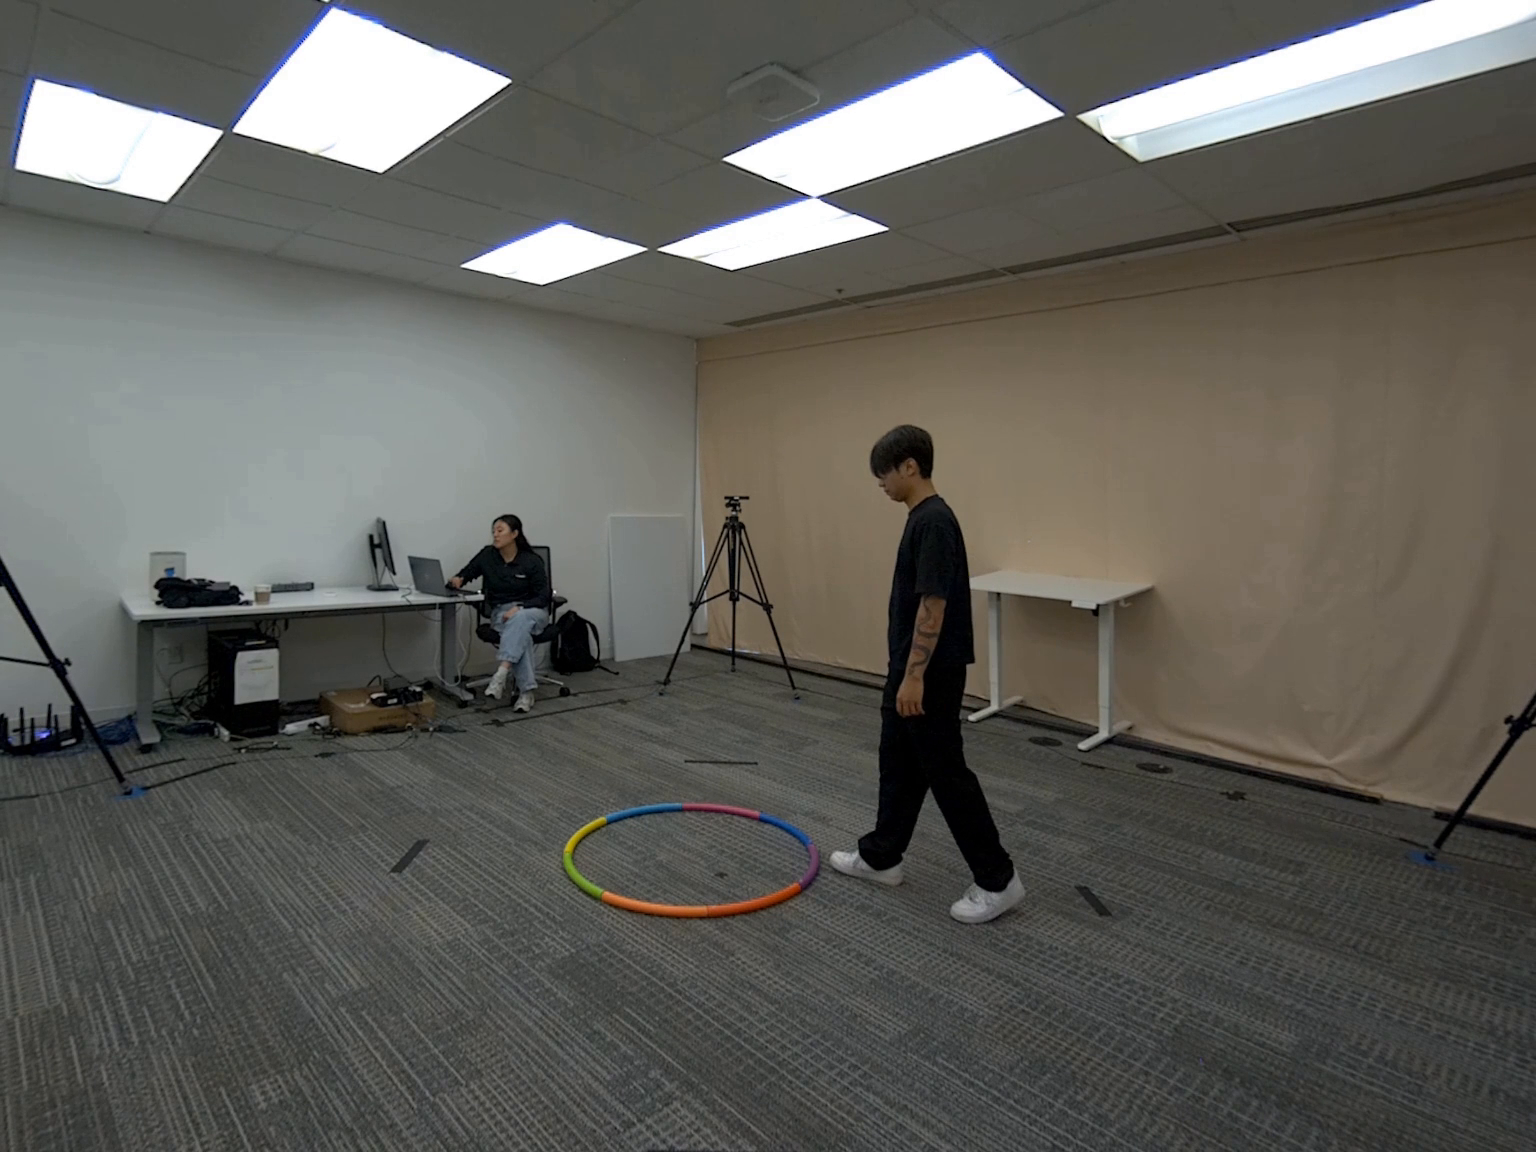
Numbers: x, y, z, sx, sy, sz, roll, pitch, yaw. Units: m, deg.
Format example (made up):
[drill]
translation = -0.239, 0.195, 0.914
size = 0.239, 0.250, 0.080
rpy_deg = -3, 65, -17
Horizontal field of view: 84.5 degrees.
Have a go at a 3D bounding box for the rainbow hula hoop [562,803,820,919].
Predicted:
[rainbow hula hoop]
translation = -0.299, 1.056, 3.264
size = 0.978, 0.035, 0.982
rpy_deg = 2, 5, -1
